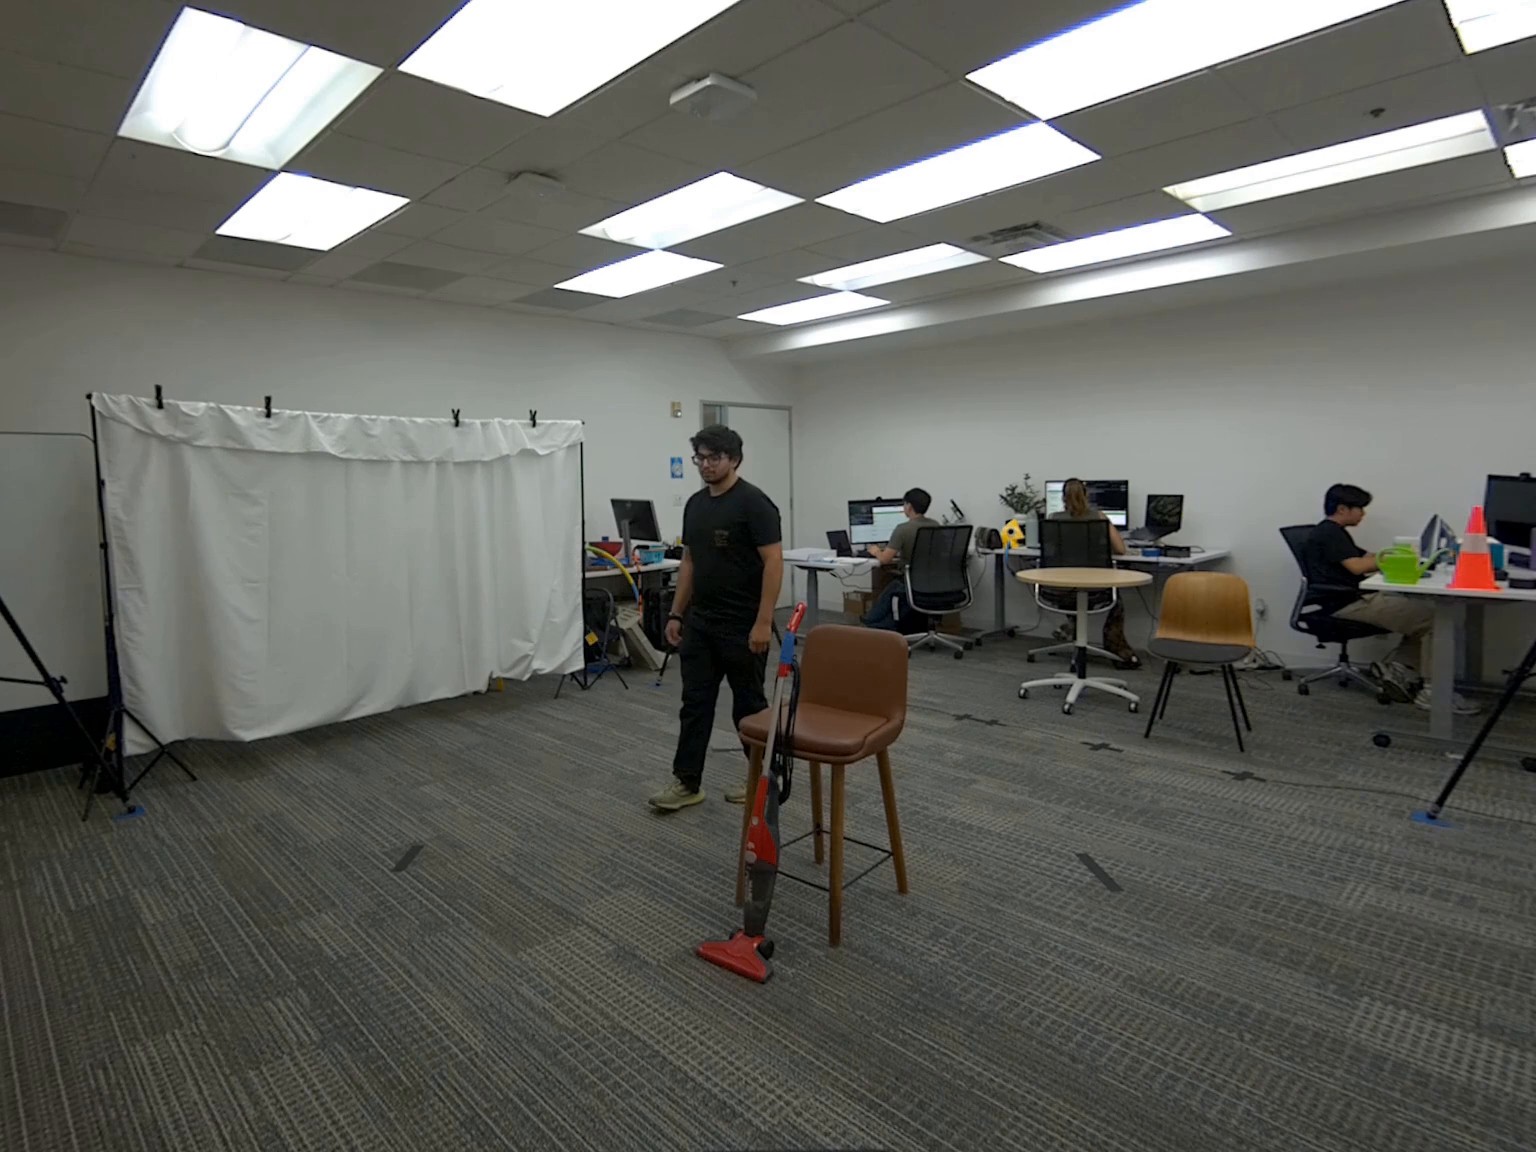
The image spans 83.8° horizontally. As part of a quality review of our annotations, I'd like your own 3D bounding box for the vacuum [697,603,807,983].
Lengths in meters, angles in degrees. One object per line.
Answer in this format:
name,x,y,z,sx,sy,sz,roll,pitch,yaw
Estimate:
vacuum,0.011,0.615,2.599,0.259,1.059,0.139,2,-15,30
